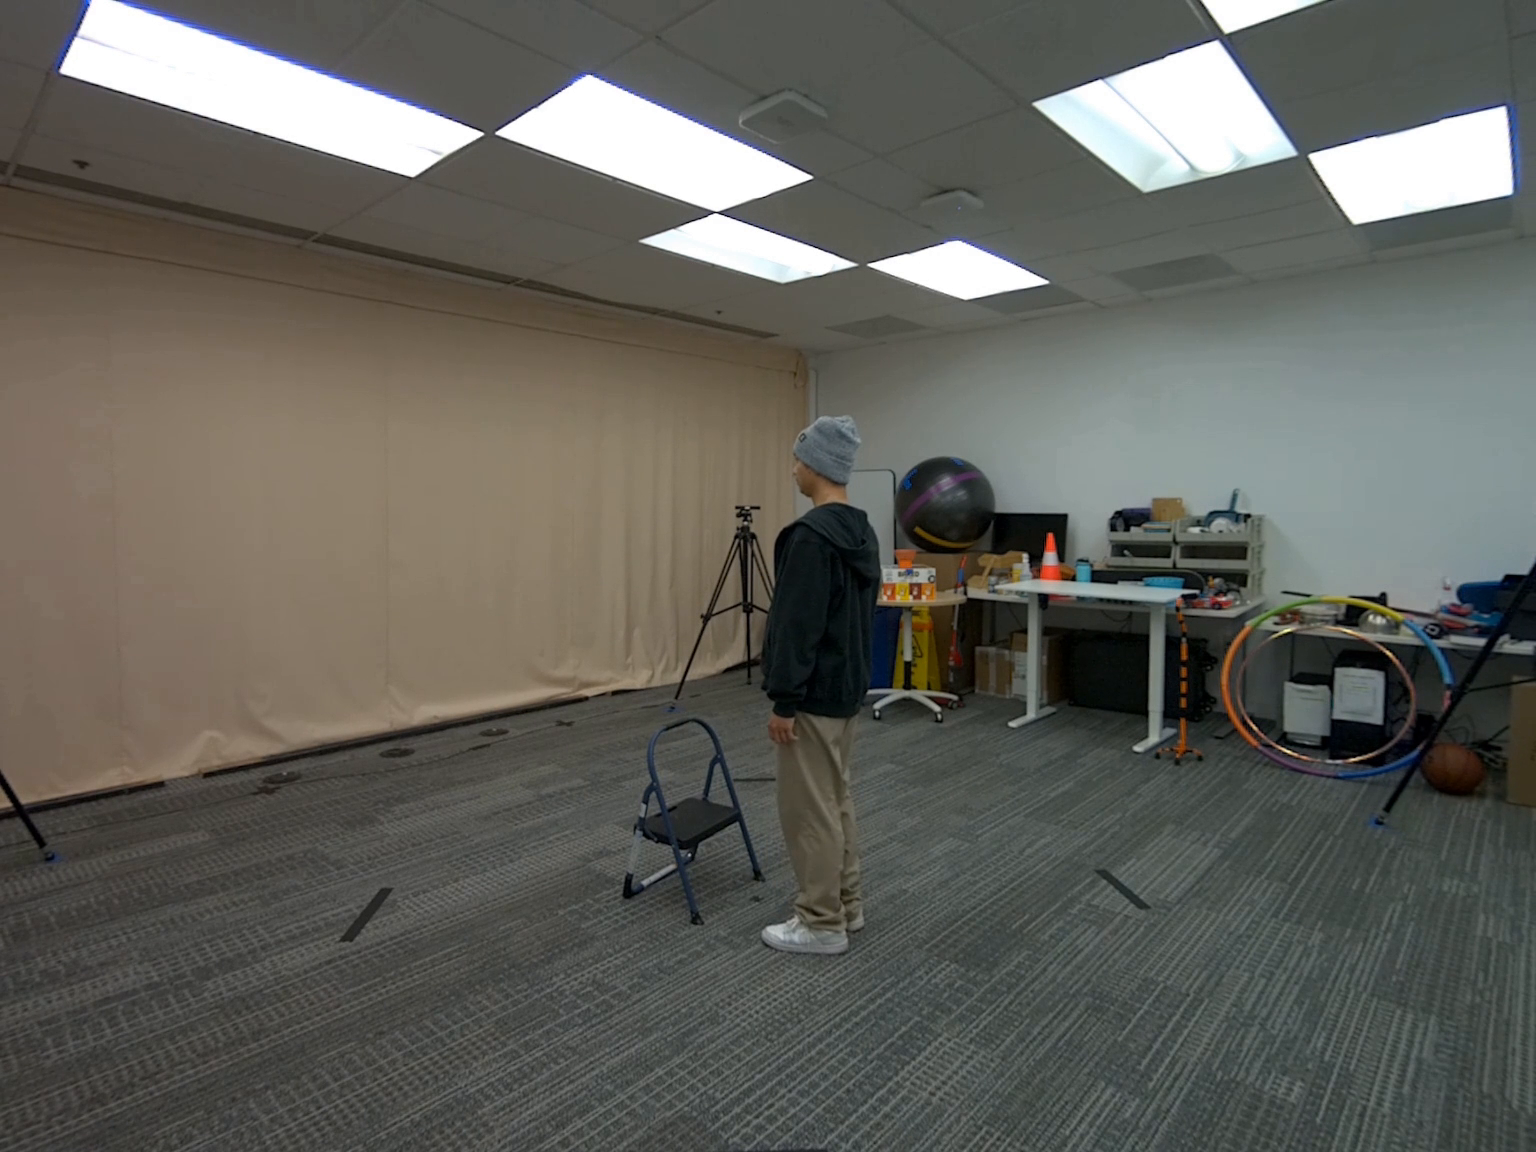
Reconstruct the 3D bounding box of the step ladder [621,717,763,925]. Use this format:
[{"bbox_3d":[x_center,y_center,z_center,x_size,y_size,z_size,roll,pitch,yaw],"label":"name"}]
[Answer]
[{"bbox_3d":[-0.268,0.837,3.055,0.360,0.605,0.418,2,4,32],"label":"step ladder"}]
